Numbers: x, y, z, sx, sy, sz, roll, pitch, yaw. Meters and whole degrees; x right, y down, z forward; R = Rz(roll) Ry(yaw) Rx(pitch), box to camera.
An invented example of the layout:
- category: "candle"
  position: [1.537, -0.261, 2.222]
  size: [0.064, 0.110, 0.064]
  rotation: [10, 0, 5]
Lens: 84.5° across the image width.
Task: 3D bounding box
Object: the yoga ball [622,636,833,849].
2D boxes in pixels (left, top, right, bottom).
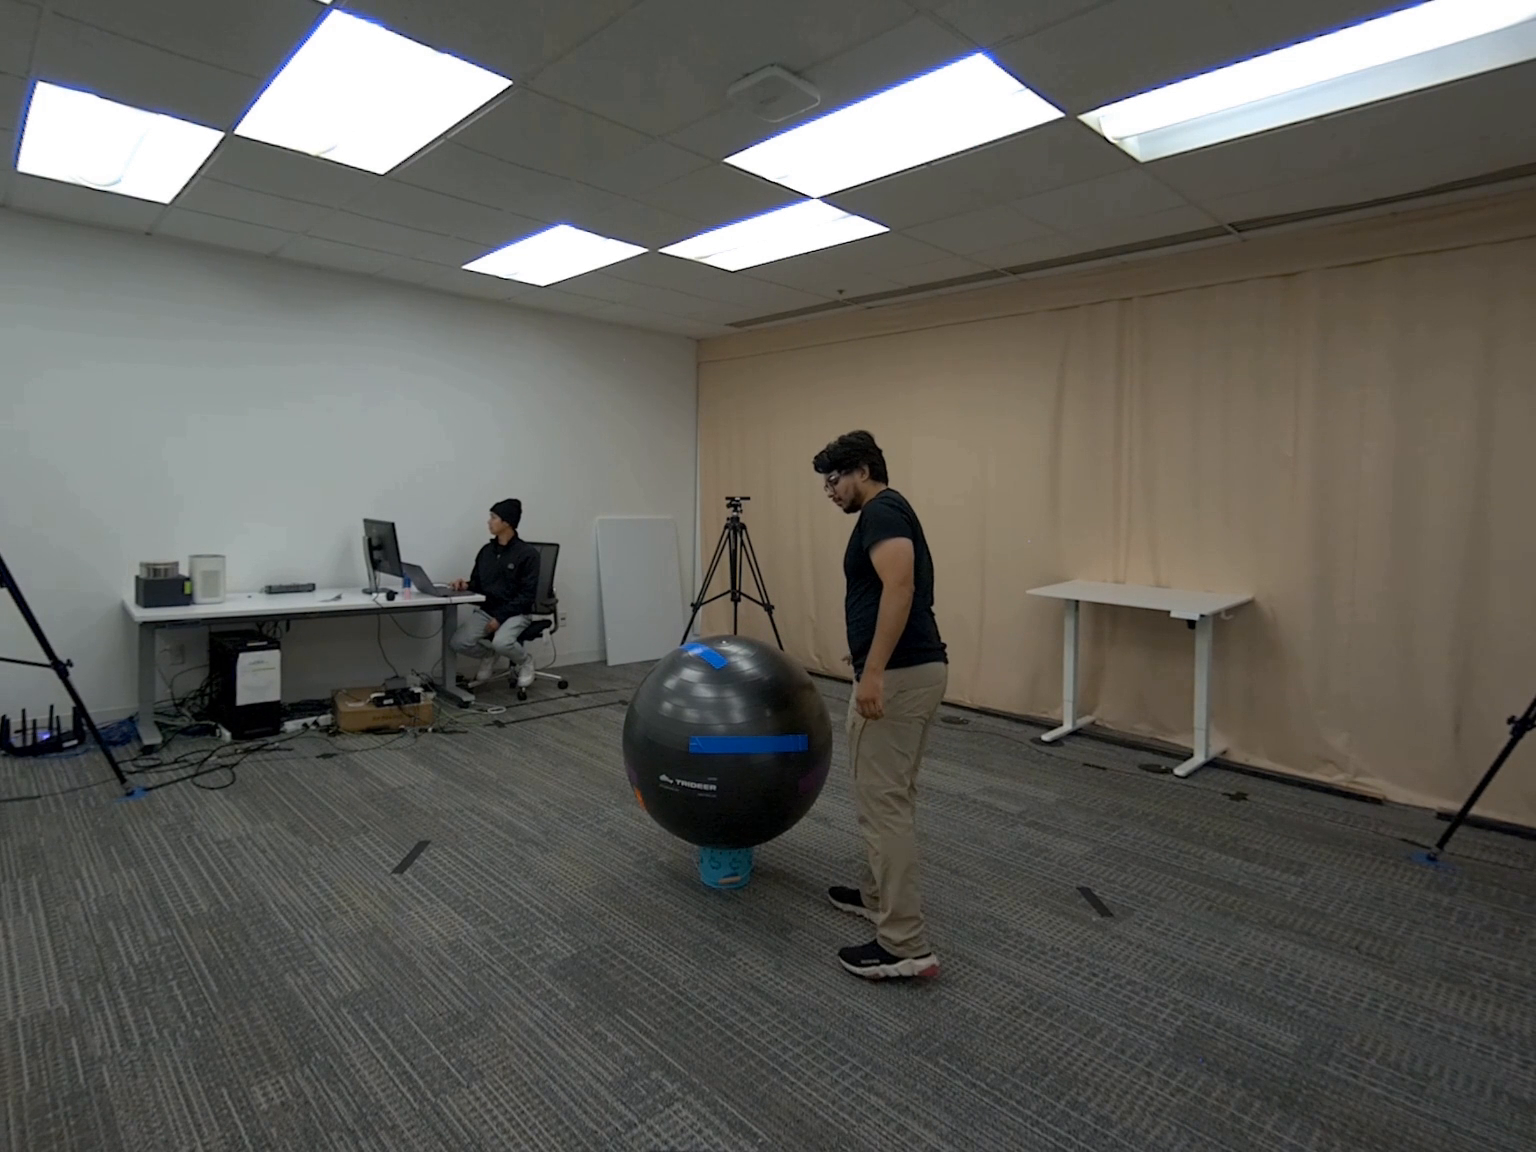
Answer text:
- category: "yoga ball"
  position: [-0.158, 0.606, 3.062]
  size: [0.757, 0.756, 0.760]
  rotation: [1, 4, -1]
